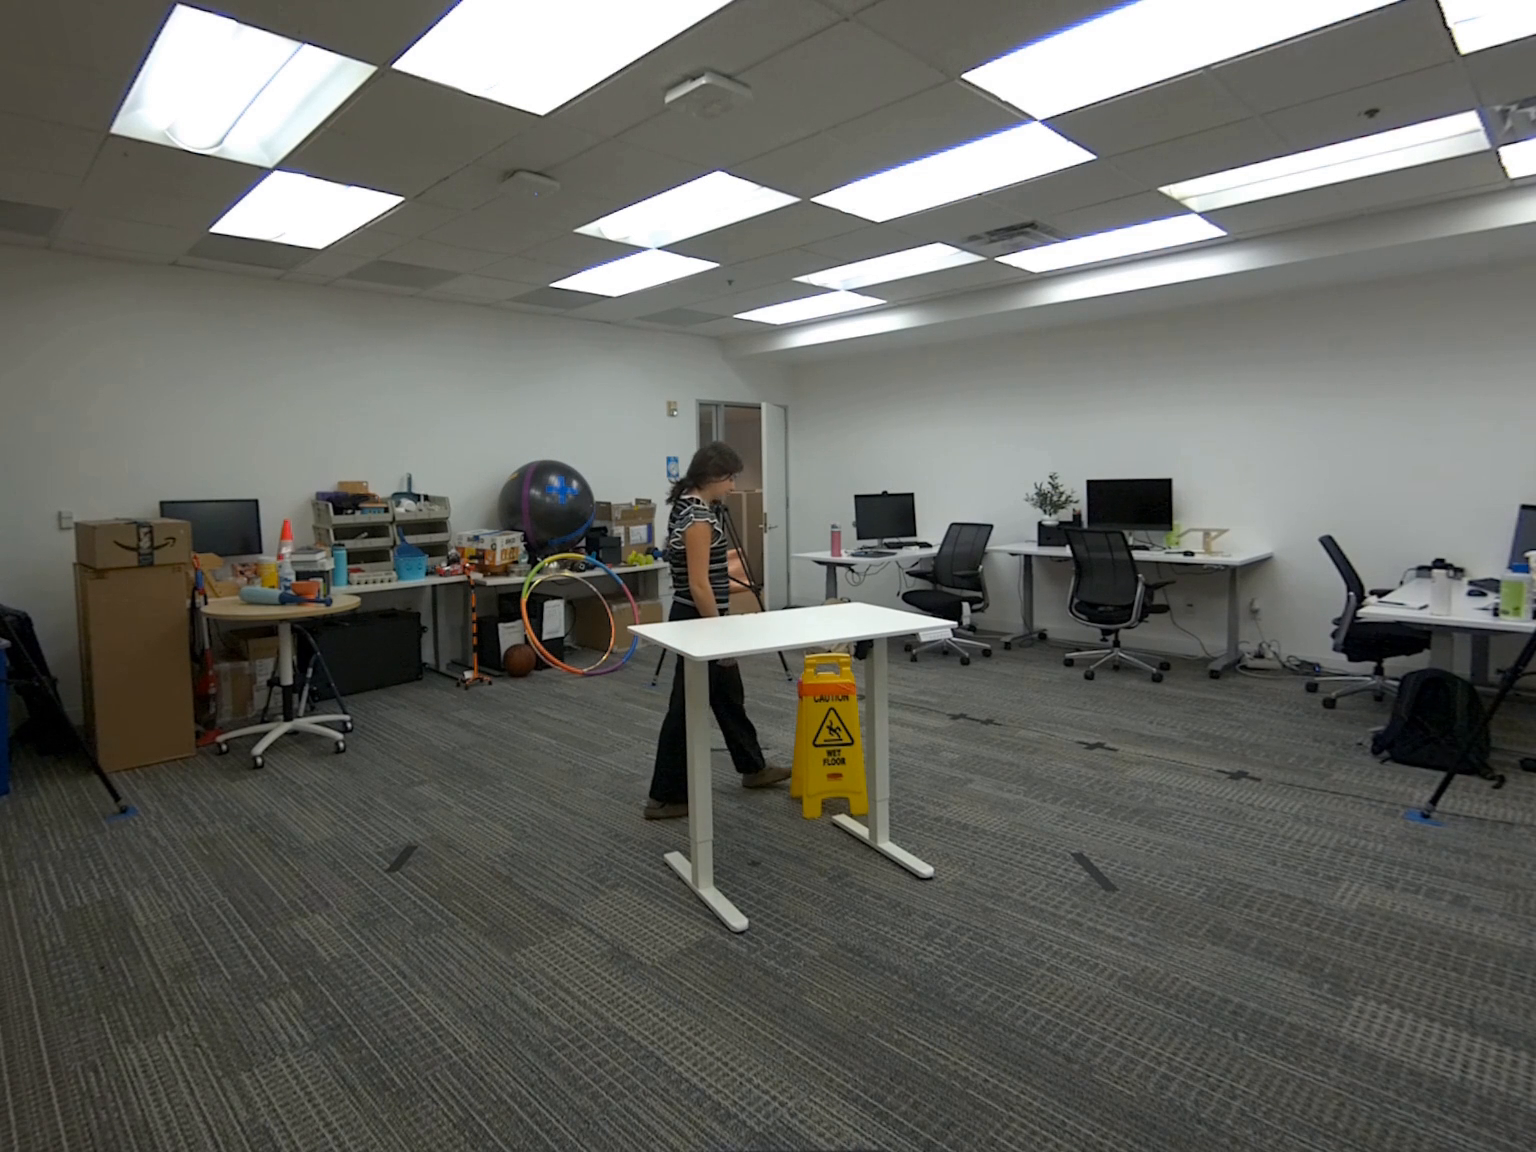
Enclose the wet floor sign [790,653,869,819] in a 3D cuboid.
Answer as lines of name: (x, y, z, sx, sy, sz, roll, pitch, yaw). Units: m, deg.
wet floor sign: (0.255, 0.654, 3.633, 0.280, 0.644, 0.293, -1, 3, -8)
